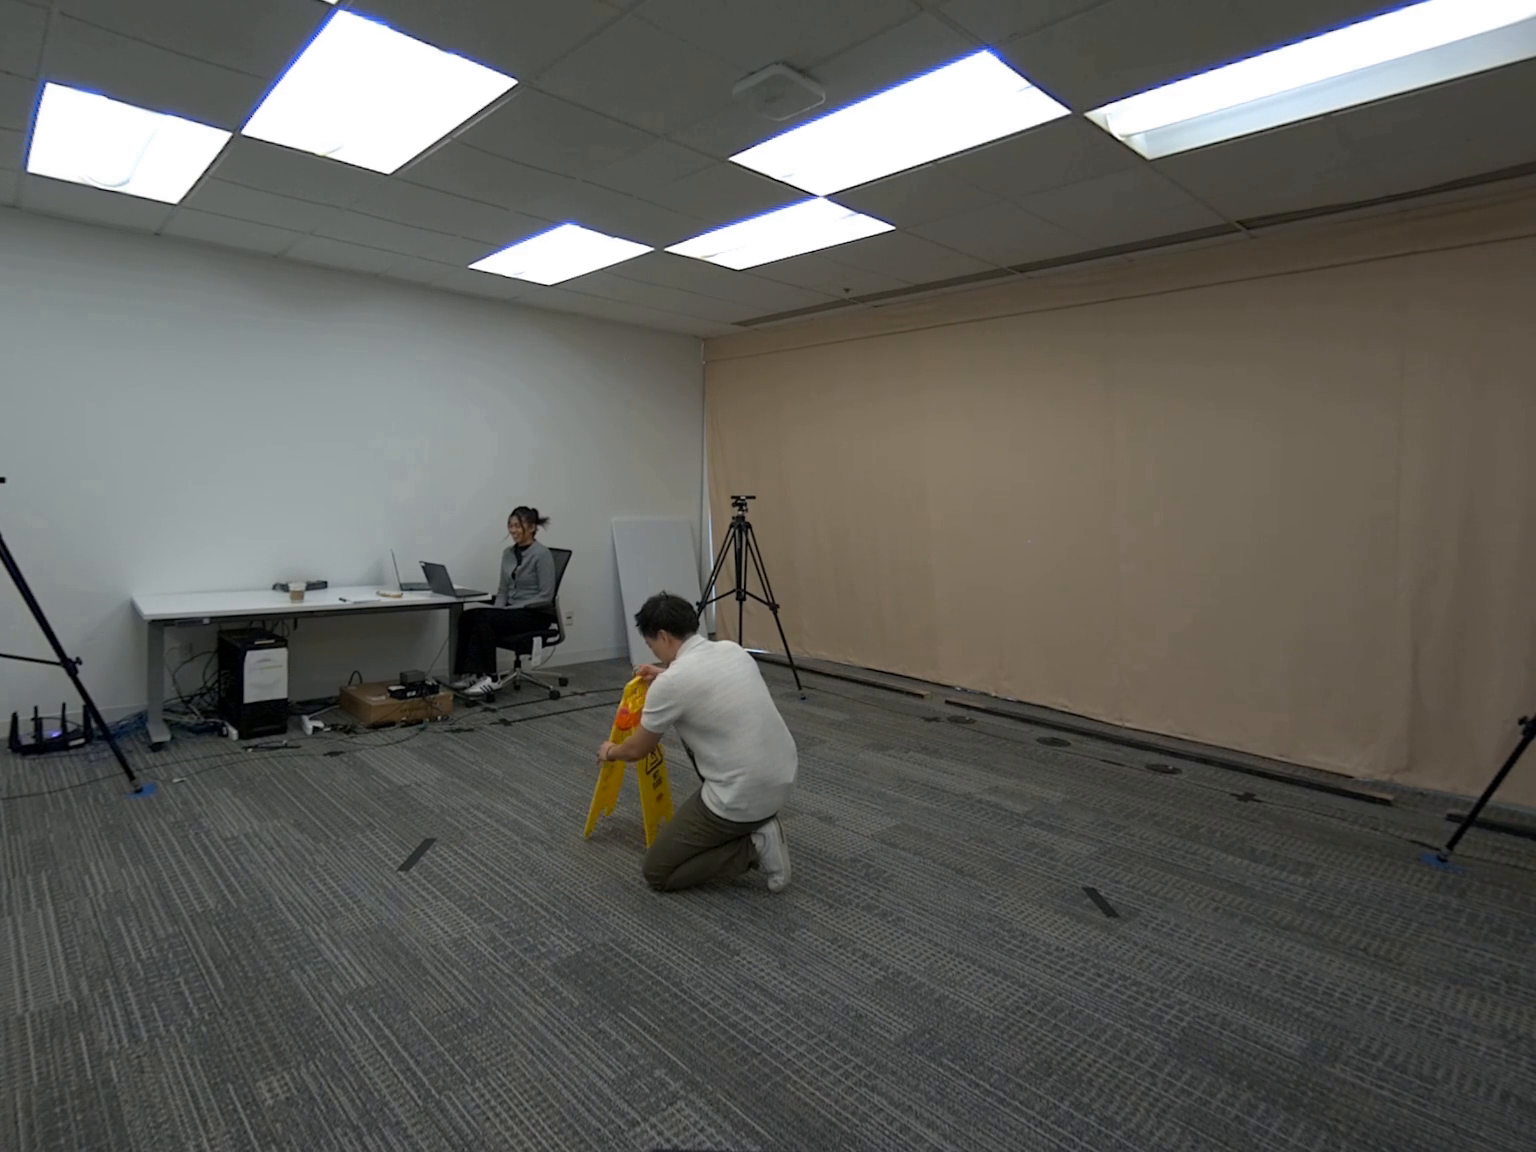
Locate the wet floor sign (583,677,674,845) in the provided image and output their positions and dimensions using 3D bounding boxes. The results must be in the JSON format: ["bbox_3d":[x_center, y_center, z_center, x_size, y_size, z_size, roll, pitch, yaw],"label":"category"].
[{"bbox_3d":[-0.569,0.728,3.414,0.293,0.644,0.280,4,5,13],"label":"wet floor sign"}]
